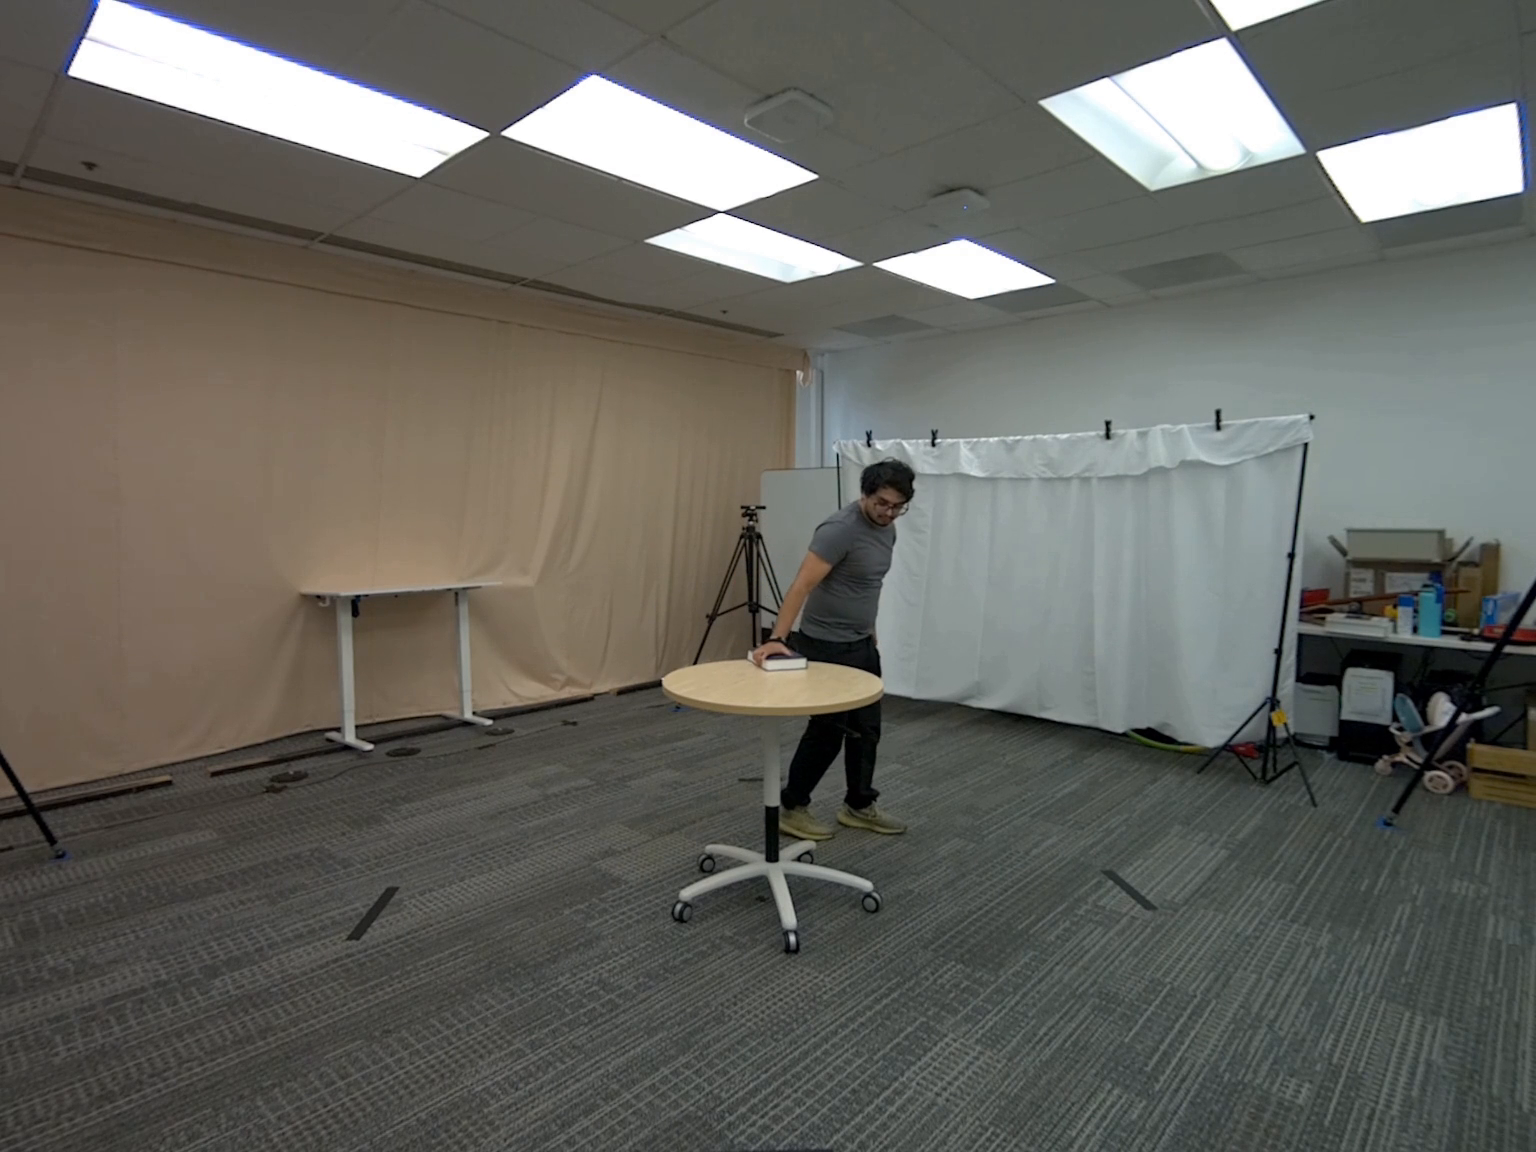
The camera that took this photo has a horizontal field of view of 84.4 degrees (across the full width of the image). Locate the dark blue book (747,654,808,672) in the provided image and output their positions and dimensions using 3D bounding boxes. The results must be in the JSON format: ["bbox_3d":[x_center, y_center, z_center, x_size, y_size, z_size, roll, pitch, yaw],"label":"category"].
[{"bbox_3d":[0.039,0.317,3.226,0.161,0.045,0.250,-1,6,-17],"label":"dark blue book"}]
